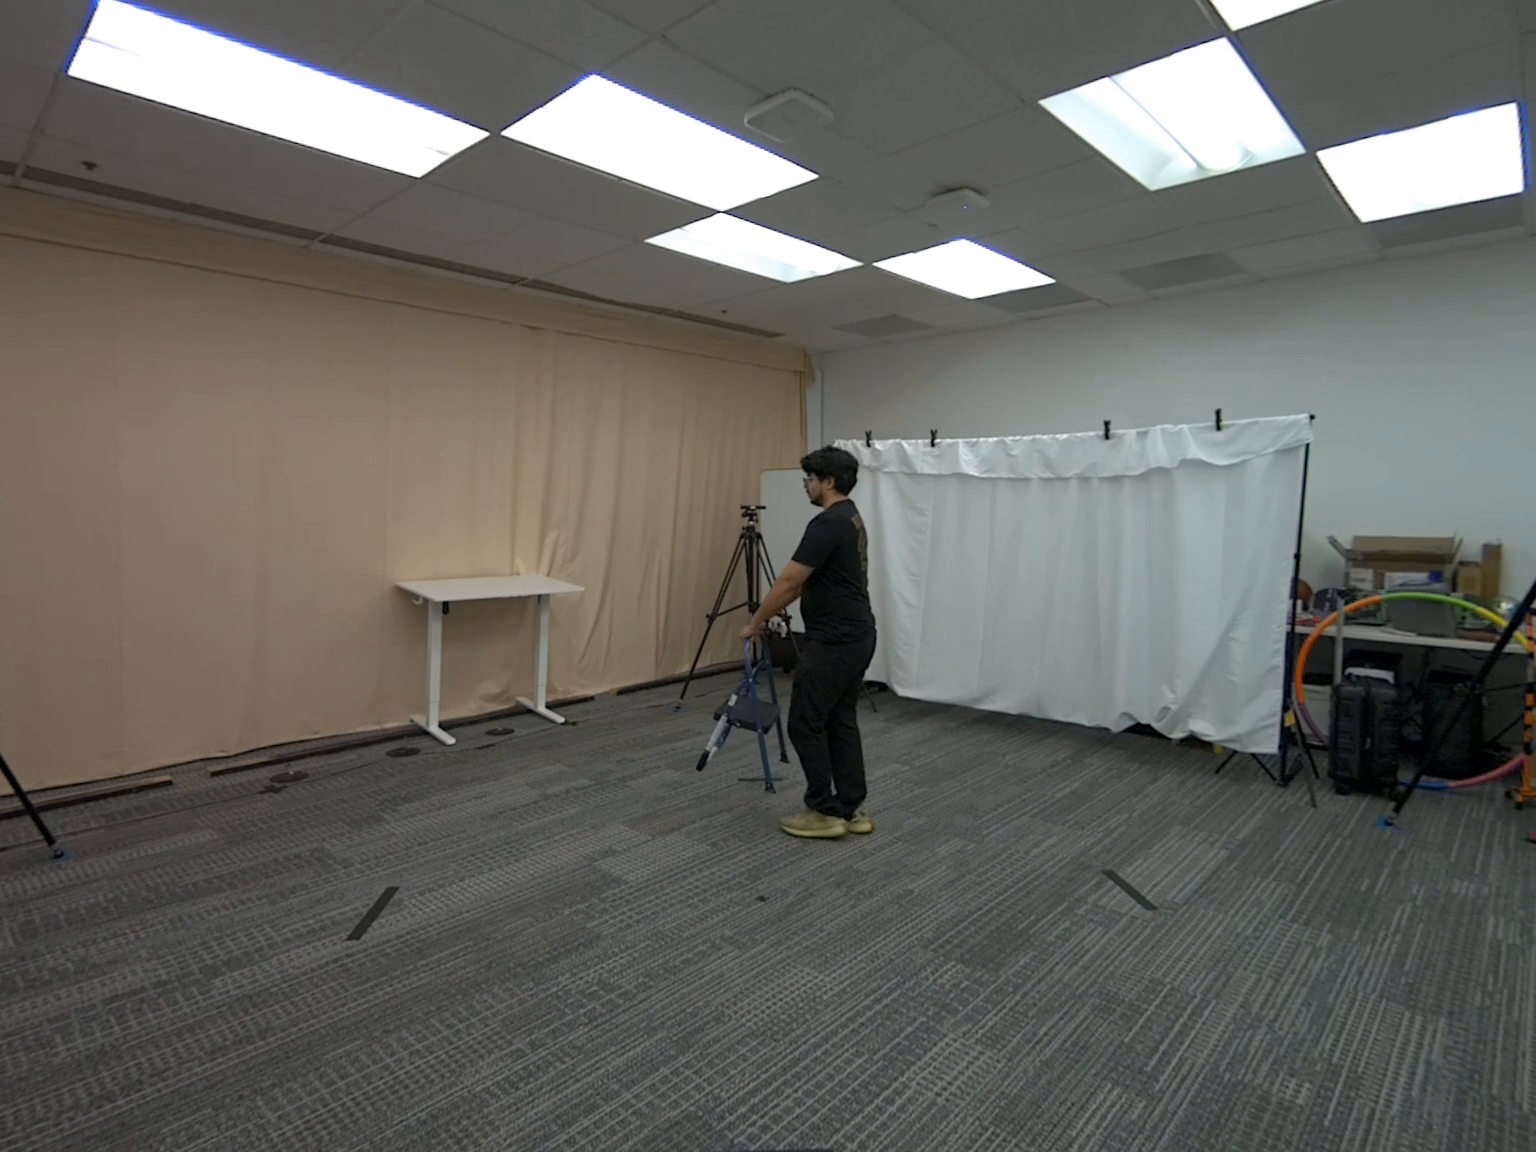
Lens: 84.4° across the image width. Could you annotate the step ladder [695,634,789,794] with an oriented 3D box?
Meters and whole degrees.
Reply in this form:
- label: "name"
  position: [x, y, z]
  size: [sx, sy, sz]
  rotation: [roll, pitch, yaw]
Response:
- label: "step ladder"
  position: [-0.048, 0.557, 3.709]
  size: [0.354, 0.604, 0.426]
  rotation: [13, 6, 11]
